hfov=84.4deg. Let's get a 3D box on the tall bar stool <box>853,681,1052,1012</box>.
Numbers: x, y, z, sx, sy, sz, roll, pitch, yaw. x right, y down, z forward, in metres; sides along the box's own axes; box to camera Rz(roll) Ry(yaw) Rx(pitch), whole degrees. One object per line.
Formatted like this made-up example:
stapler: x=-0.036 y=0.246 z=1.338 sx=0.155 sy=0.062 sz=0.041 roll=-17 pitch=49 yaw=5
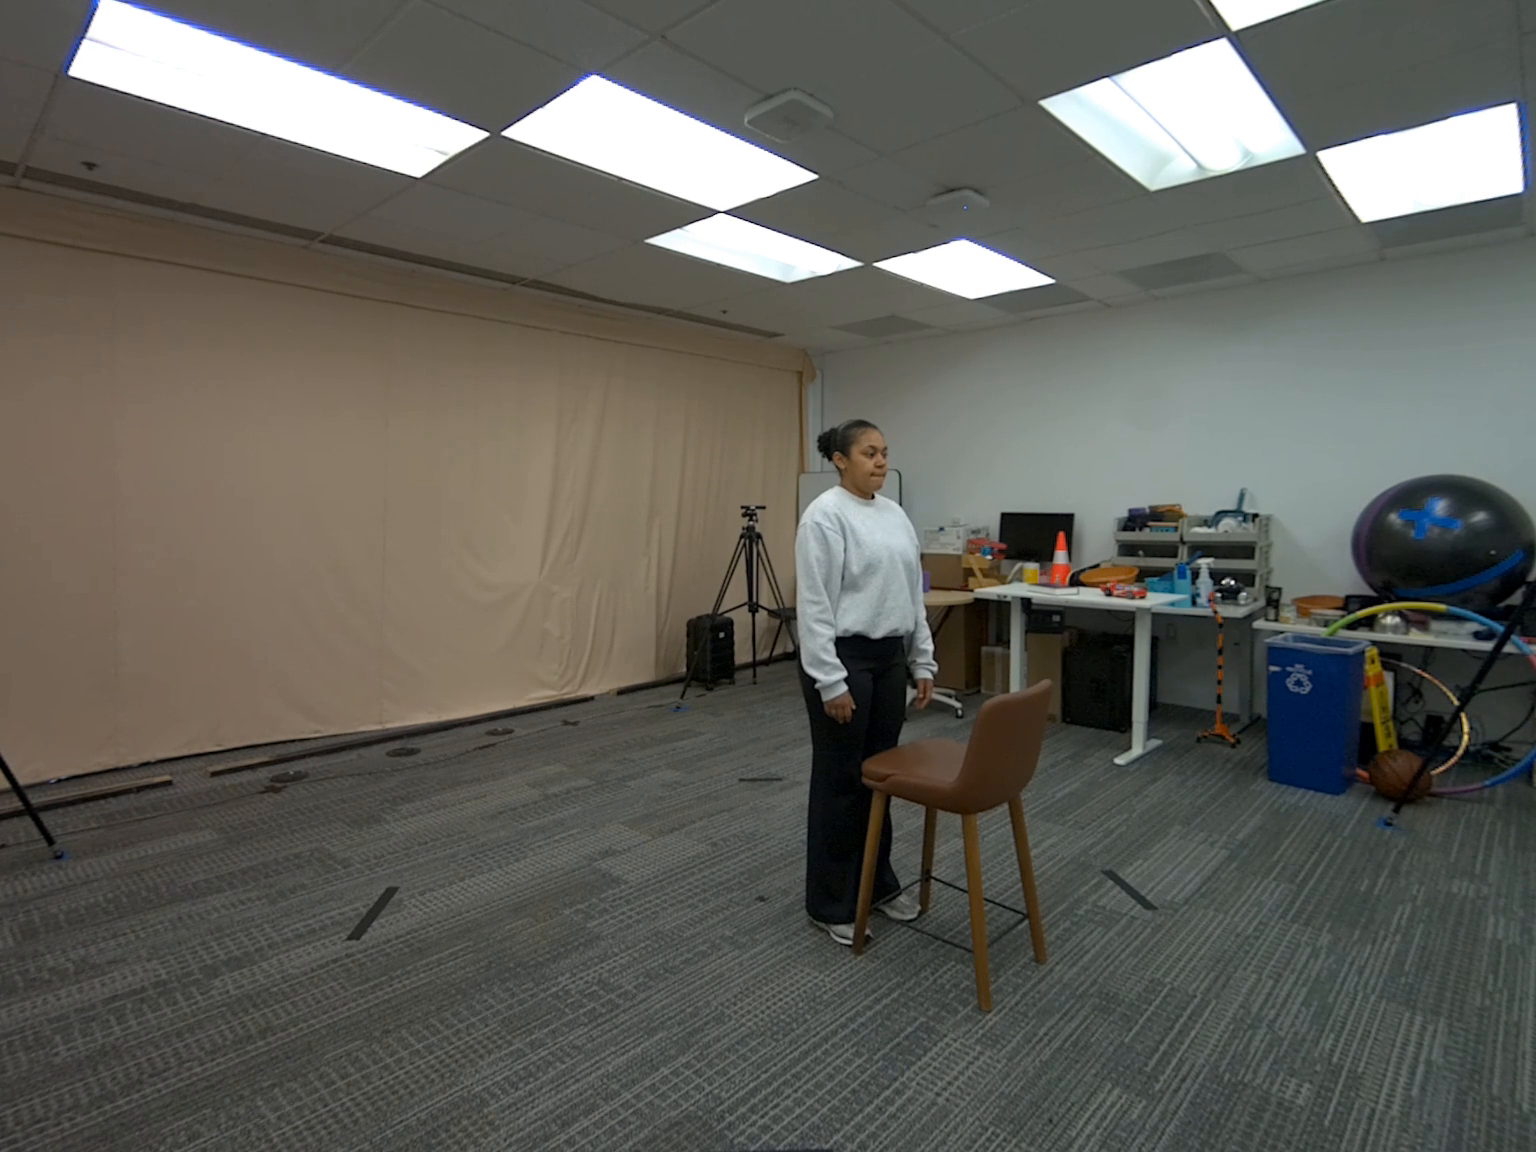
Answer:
tall bar stool: x=0.572 y=0.738 z=2.567 sx=0.483 sy=0.887 sz=0.442 roll=6 pitch=7 yaw=44
